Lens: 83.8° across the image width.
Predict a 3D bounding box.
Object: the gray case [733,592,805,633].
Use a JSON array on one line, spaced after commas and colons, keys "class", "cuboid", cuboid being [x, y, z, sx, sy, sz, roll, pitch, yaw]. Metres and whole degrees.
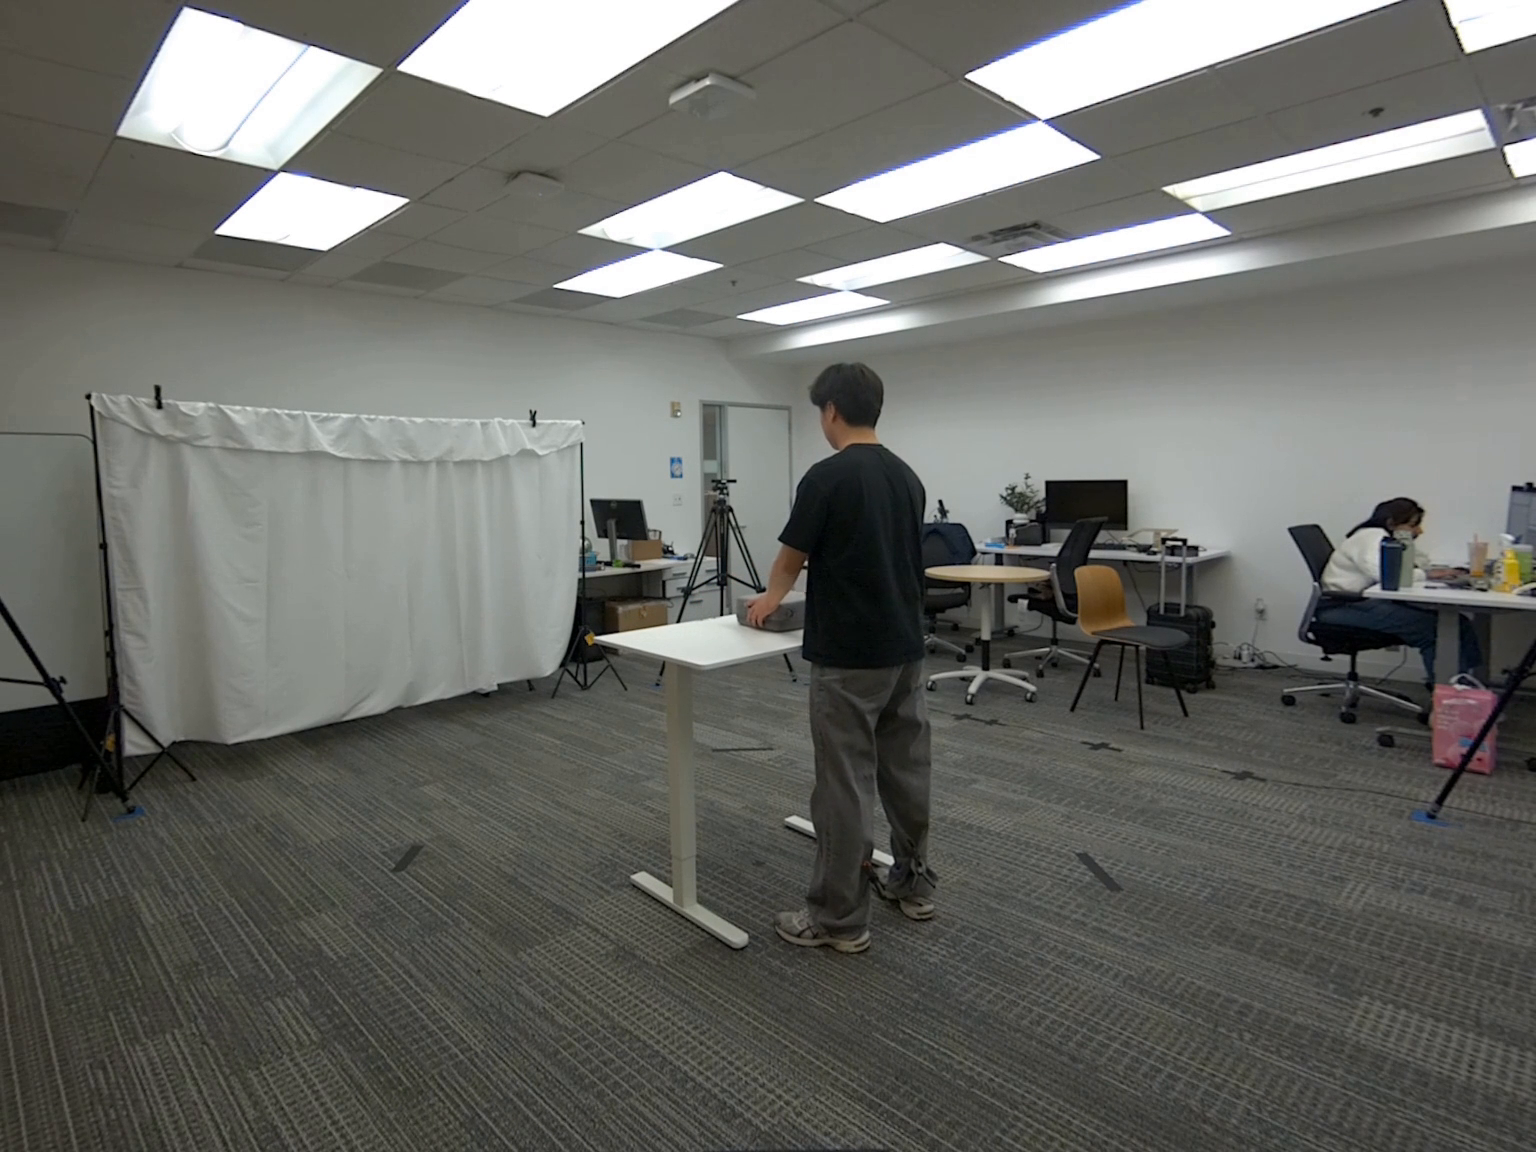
[{"class": "gray case", "cuboid": [0.038, 0.124, 3.021, 0.280, 0.102, 0.271, -5, 7, -33]}]
